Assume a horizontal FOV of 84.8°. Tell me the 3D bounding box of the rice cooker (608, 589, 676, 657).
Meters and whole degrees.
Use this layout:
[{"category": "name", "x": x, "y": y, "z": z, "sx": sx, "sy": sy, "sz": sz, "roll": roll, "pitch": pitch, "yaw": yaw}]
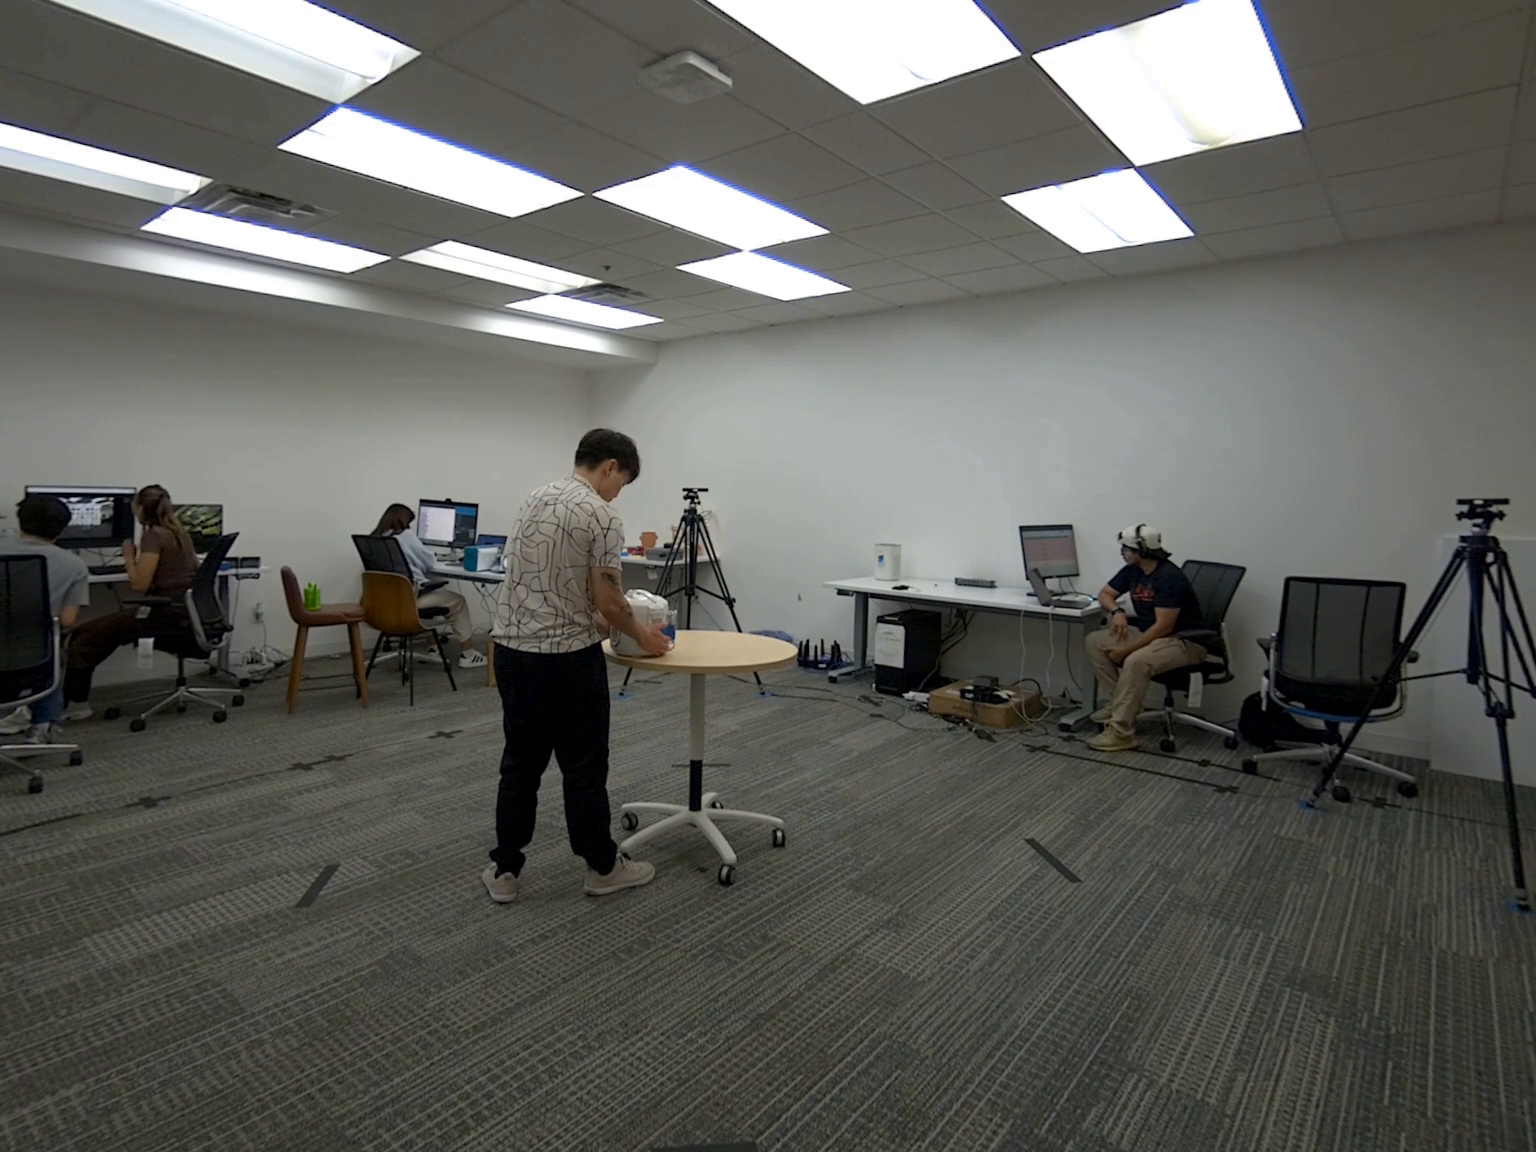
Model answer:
[{"category": "rice cooker", "x": -0.475, "y": 0.167, "z": 3.111, "sx": 0.211, "sy": 0.232, "sz": 0.228, "roll": -1, "pitch": 5, "yaw": -44}]
